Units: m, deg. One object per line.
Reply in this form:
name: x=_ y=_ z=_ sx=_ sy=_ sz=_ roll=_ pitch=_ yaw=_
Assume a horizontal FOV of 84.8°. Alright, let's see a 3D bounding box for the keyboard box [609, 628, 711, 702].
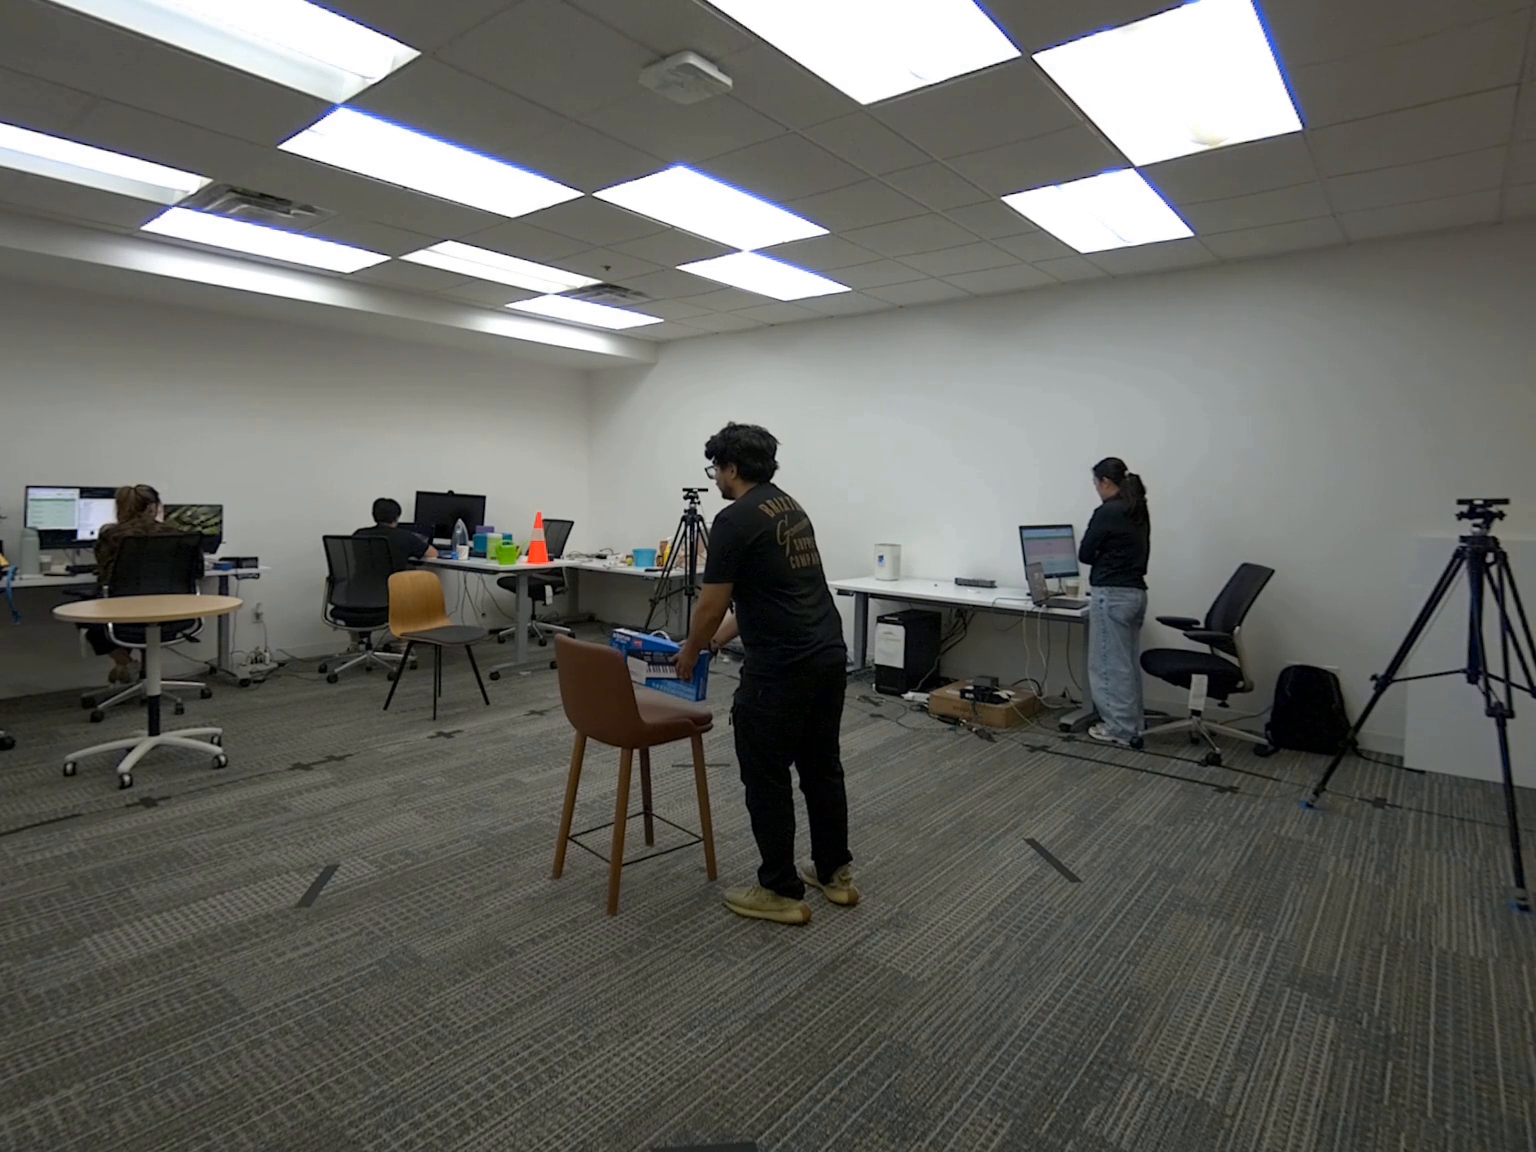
keyboard box: x=-0.410 y=0.314 z=3.083 sx=0.452 sy=0.175 sz=0.057 roll=10 pitch=5 yaw=36
